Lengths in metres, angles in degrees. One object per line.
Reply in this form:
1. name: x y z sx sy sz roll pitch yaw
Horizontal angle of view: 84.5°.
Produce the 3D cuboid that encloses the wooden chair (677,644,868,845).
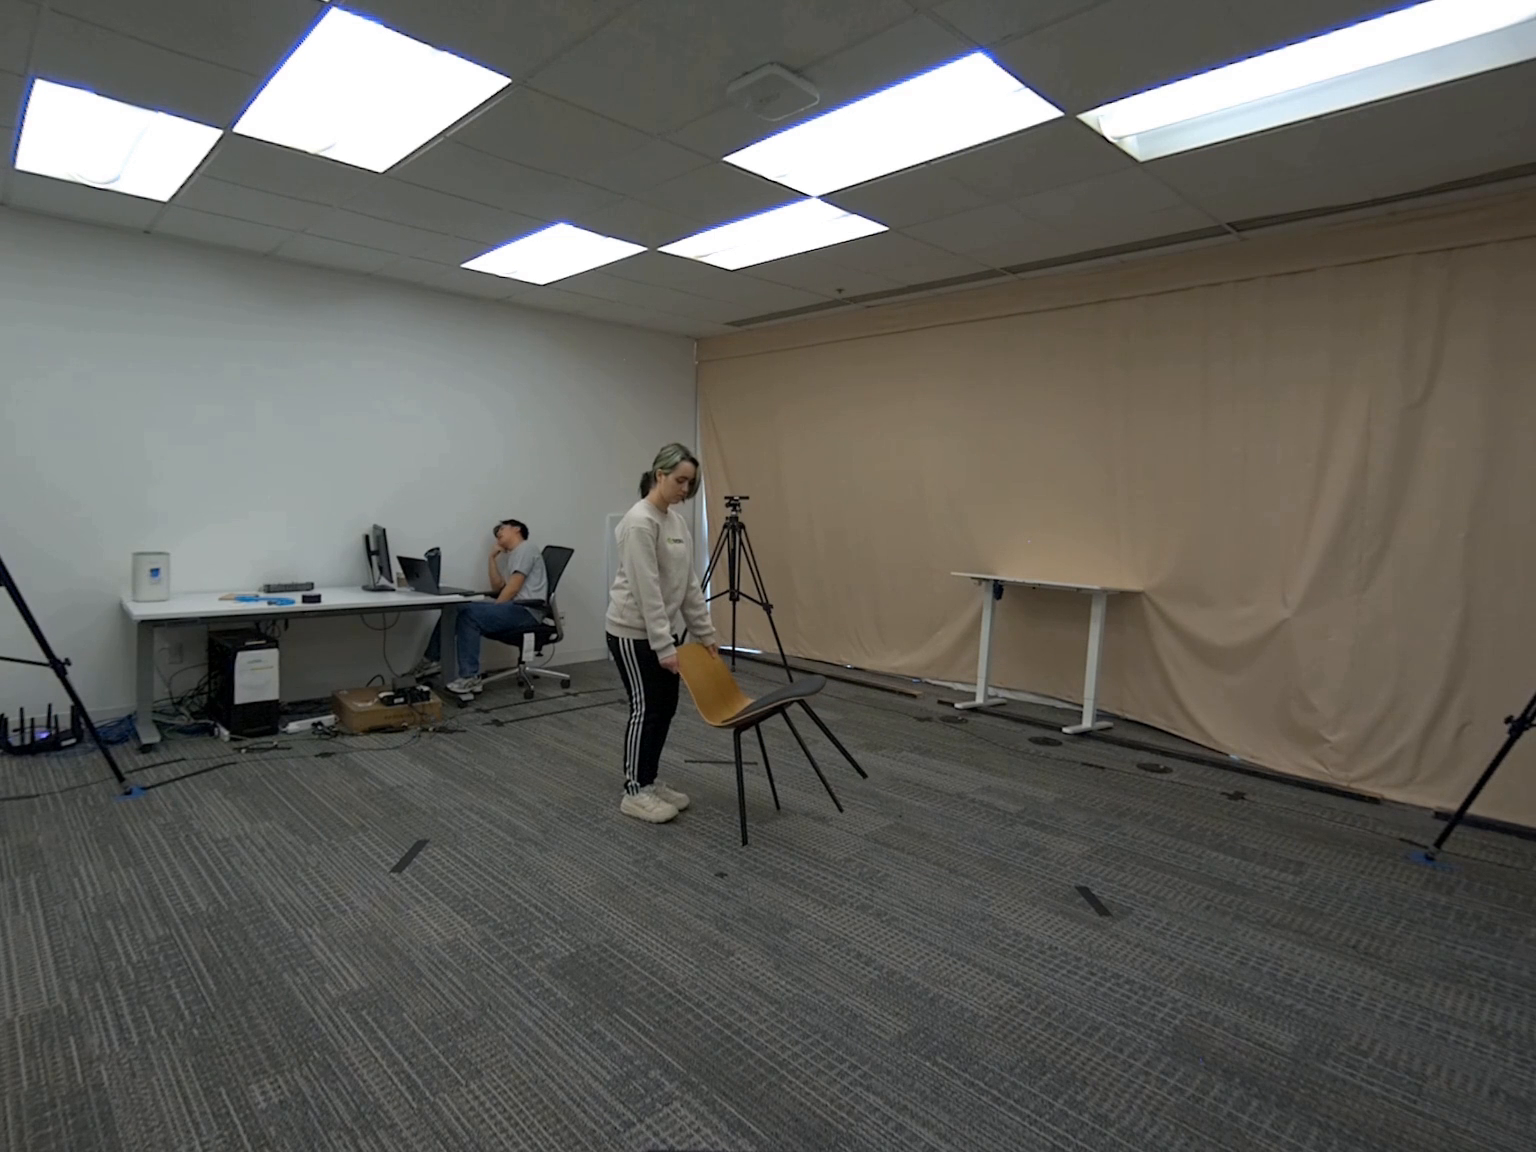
1. wooden chair: -0.007 0.585 3.537 0.526 0.885 0.471 -30 -9 20
